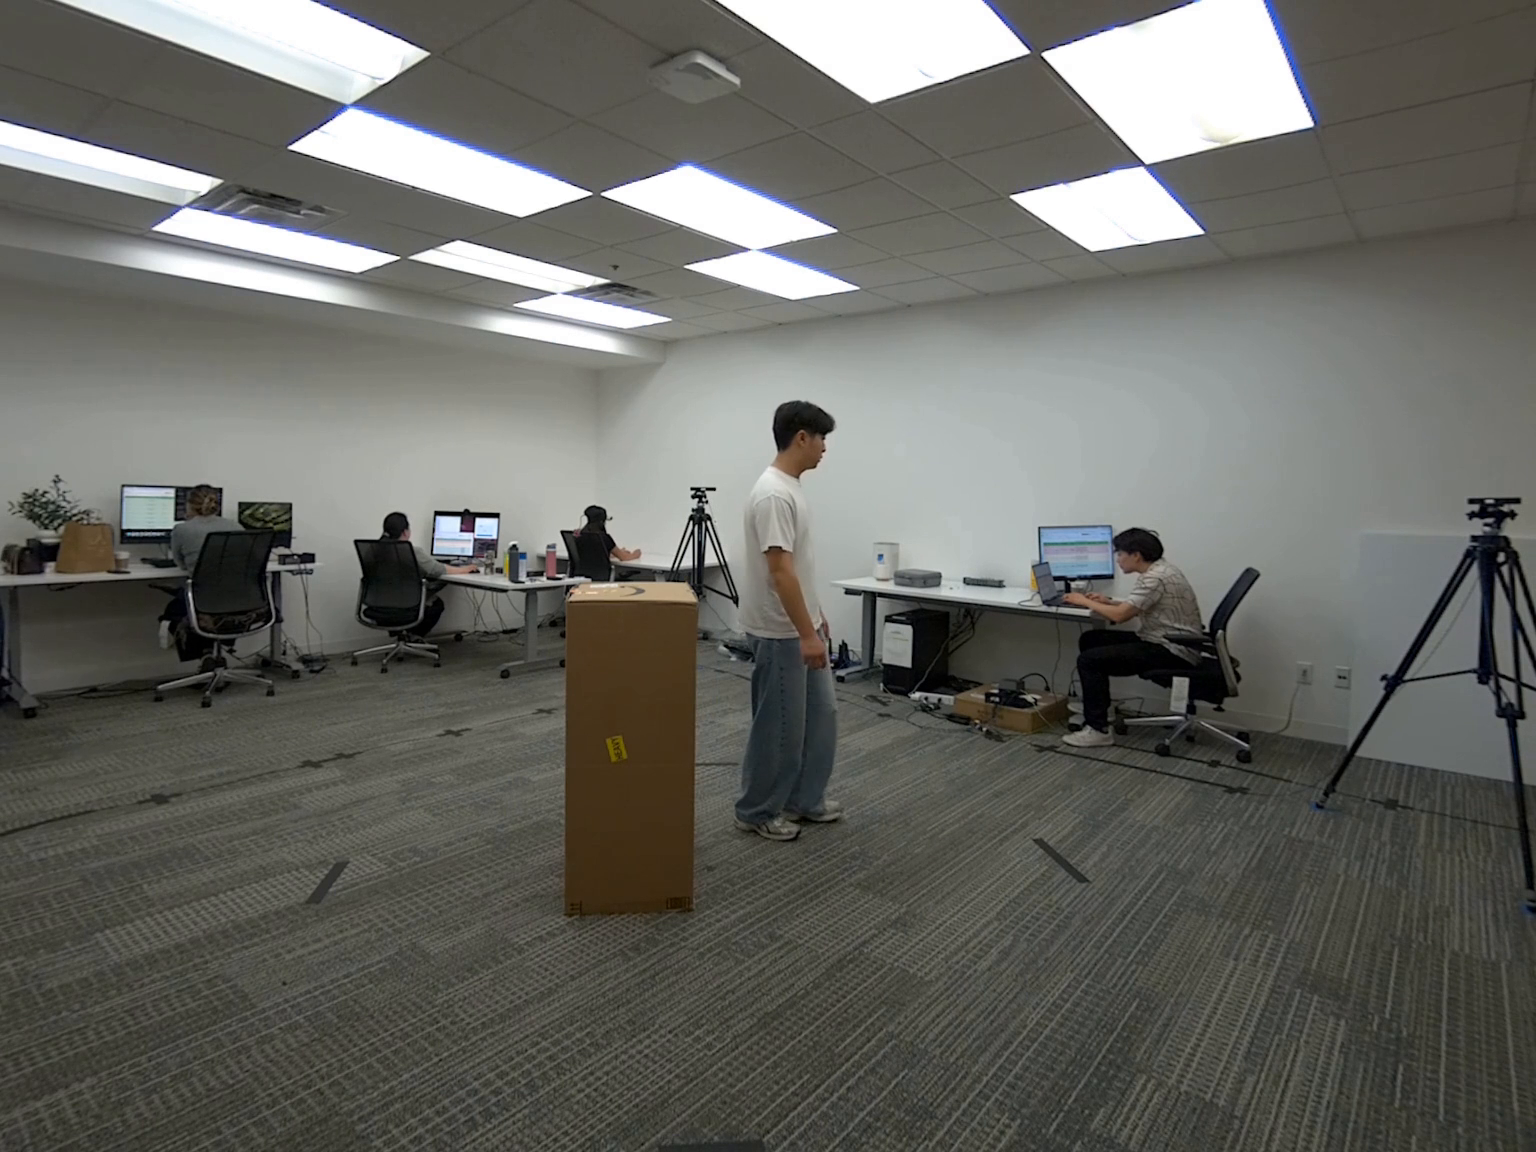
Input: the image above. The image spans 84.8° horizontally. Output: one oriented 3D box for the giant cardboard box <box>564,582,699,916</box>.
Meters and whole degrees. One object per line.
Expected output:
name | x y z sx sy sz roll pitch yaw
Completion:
giant cardboard box | -0.498 0.561 3.023 0.423 1.023 0.584 1 3 -8
